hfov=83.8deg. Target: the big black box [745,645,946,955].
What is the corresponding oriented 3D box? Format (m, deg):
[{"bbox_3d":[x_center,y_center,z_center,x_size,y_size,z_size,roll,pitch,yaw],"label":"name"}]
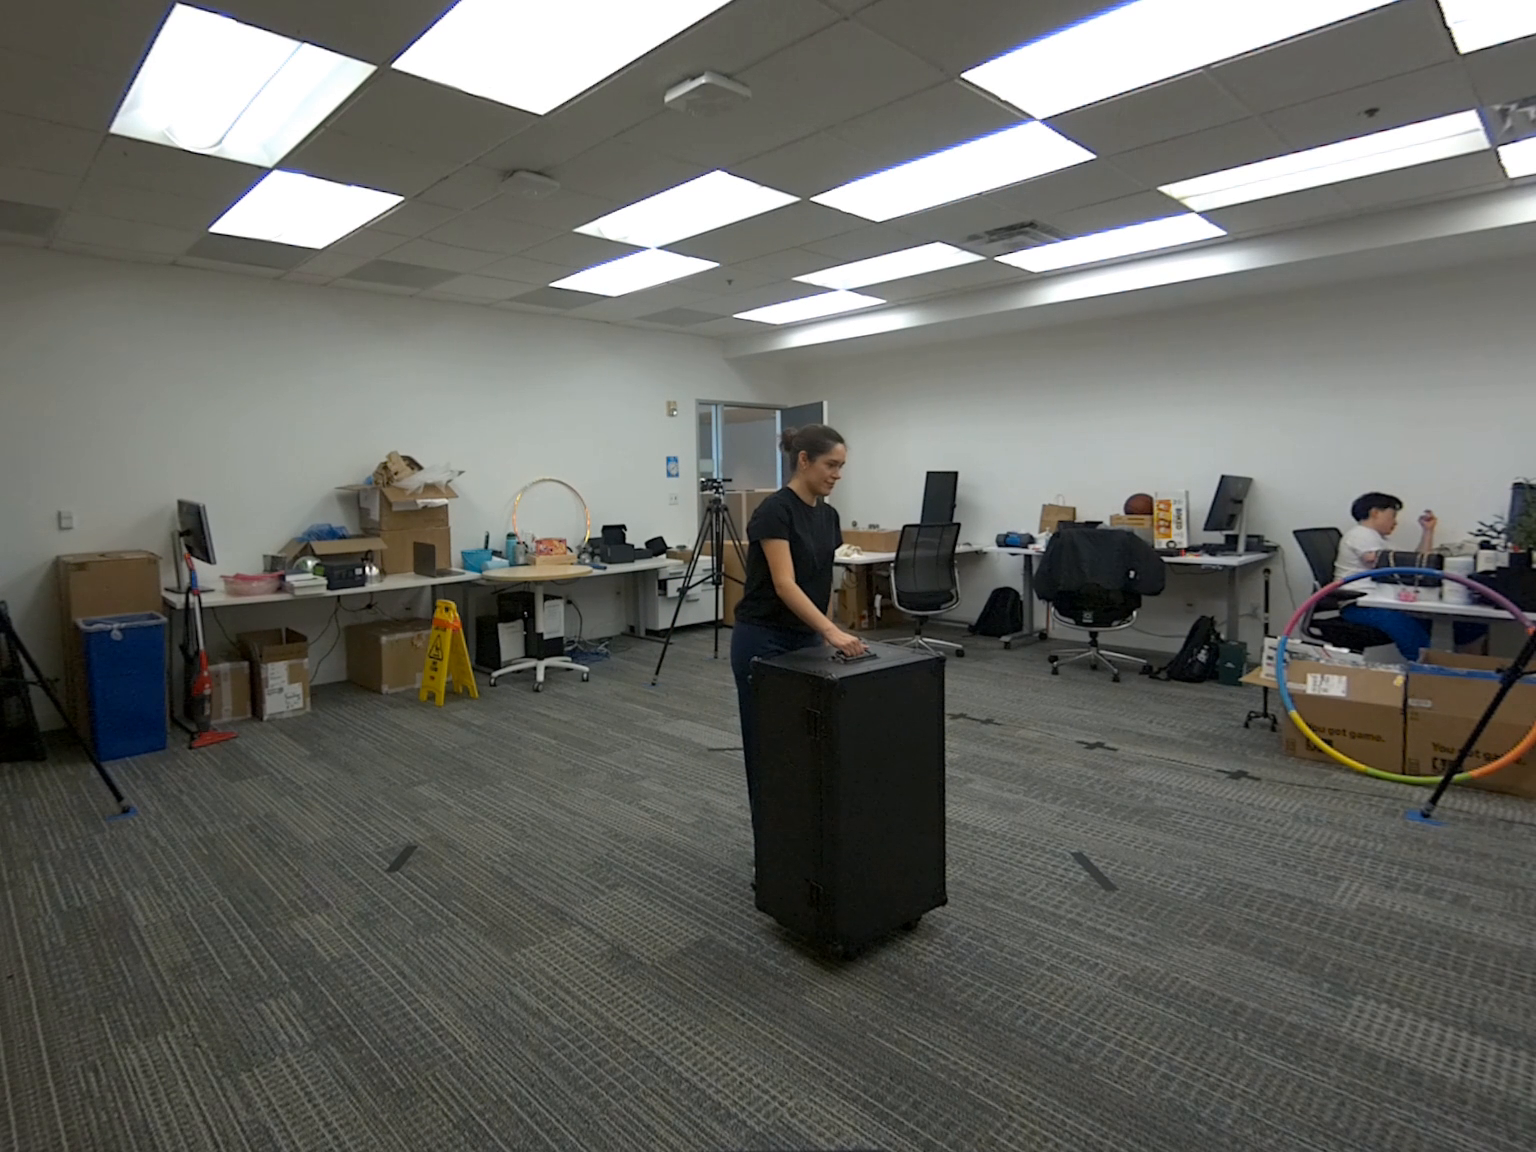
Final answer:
[{"bbox_3d":[0.243,0.606,2.644,0.508,0.859,0.408,-4,4,-39],"label":"big black box"}]
